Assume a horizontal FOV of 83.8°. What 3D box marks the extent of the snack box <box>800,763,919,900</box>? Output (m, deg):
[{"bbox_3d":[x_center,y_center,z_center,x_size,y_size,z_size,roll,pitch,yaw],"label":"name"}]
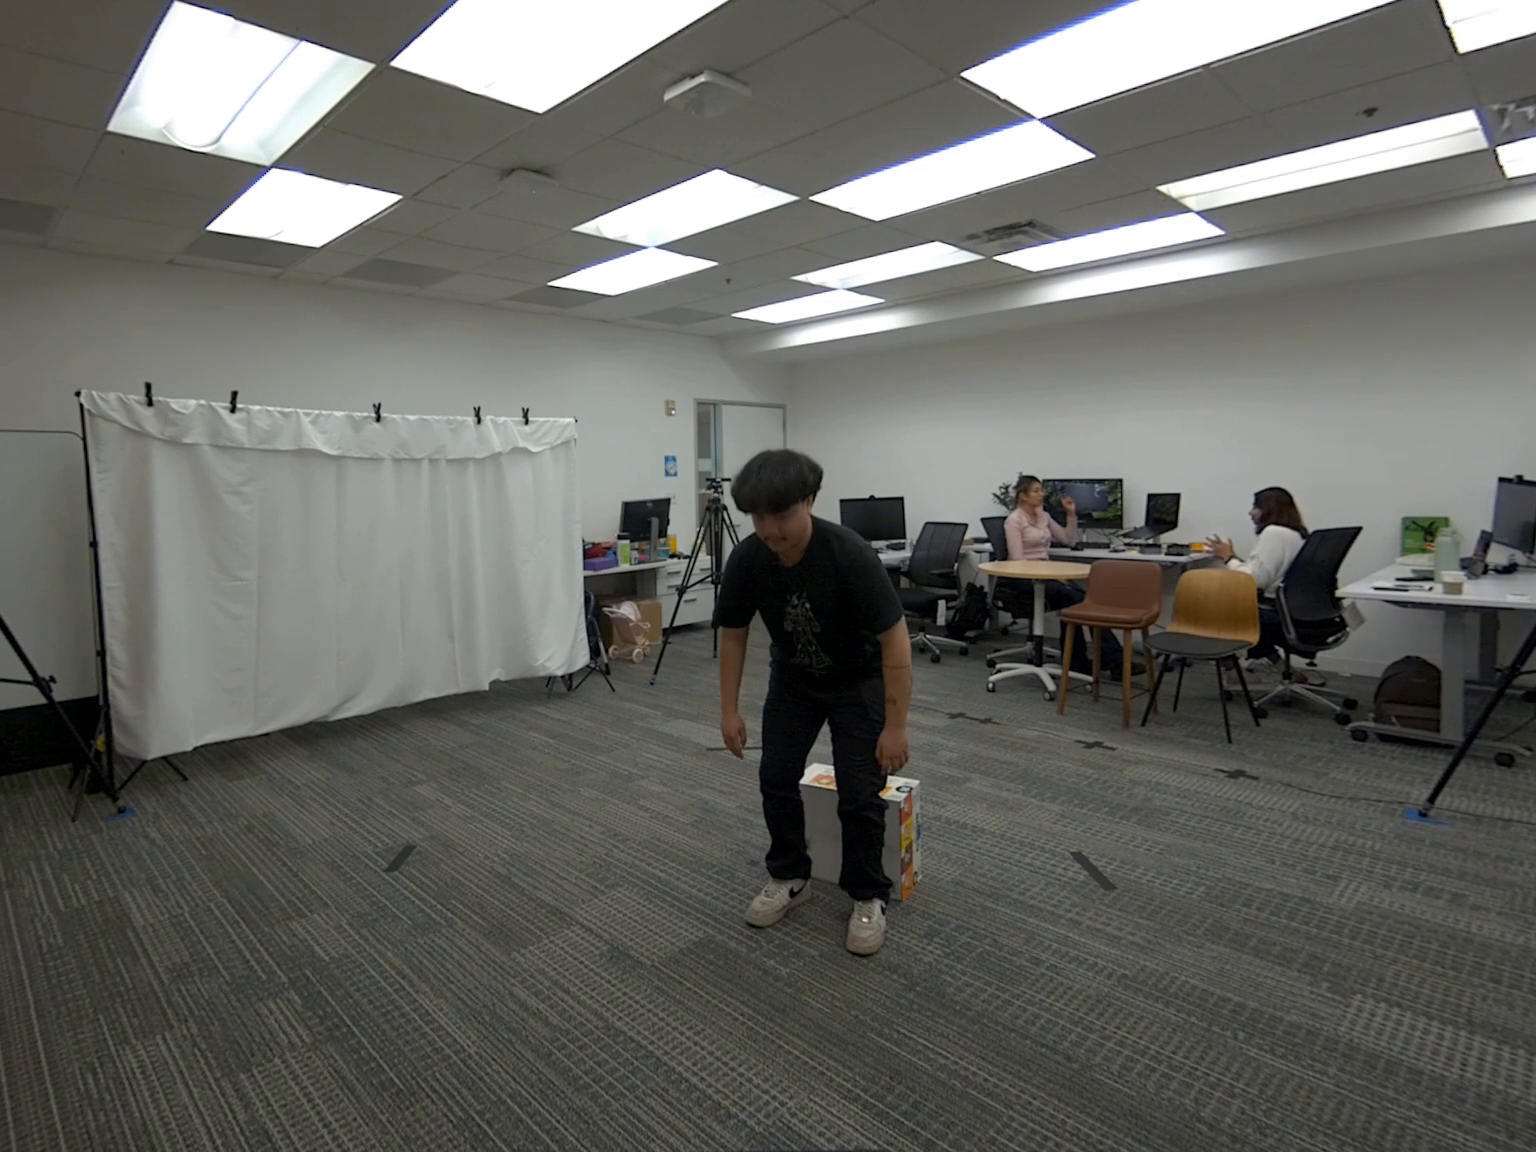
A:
[{"bbox_3d":[0.308,0.879,2.981,0.416,0.339,0.201,2,5,30],"label":"snack box"}]
